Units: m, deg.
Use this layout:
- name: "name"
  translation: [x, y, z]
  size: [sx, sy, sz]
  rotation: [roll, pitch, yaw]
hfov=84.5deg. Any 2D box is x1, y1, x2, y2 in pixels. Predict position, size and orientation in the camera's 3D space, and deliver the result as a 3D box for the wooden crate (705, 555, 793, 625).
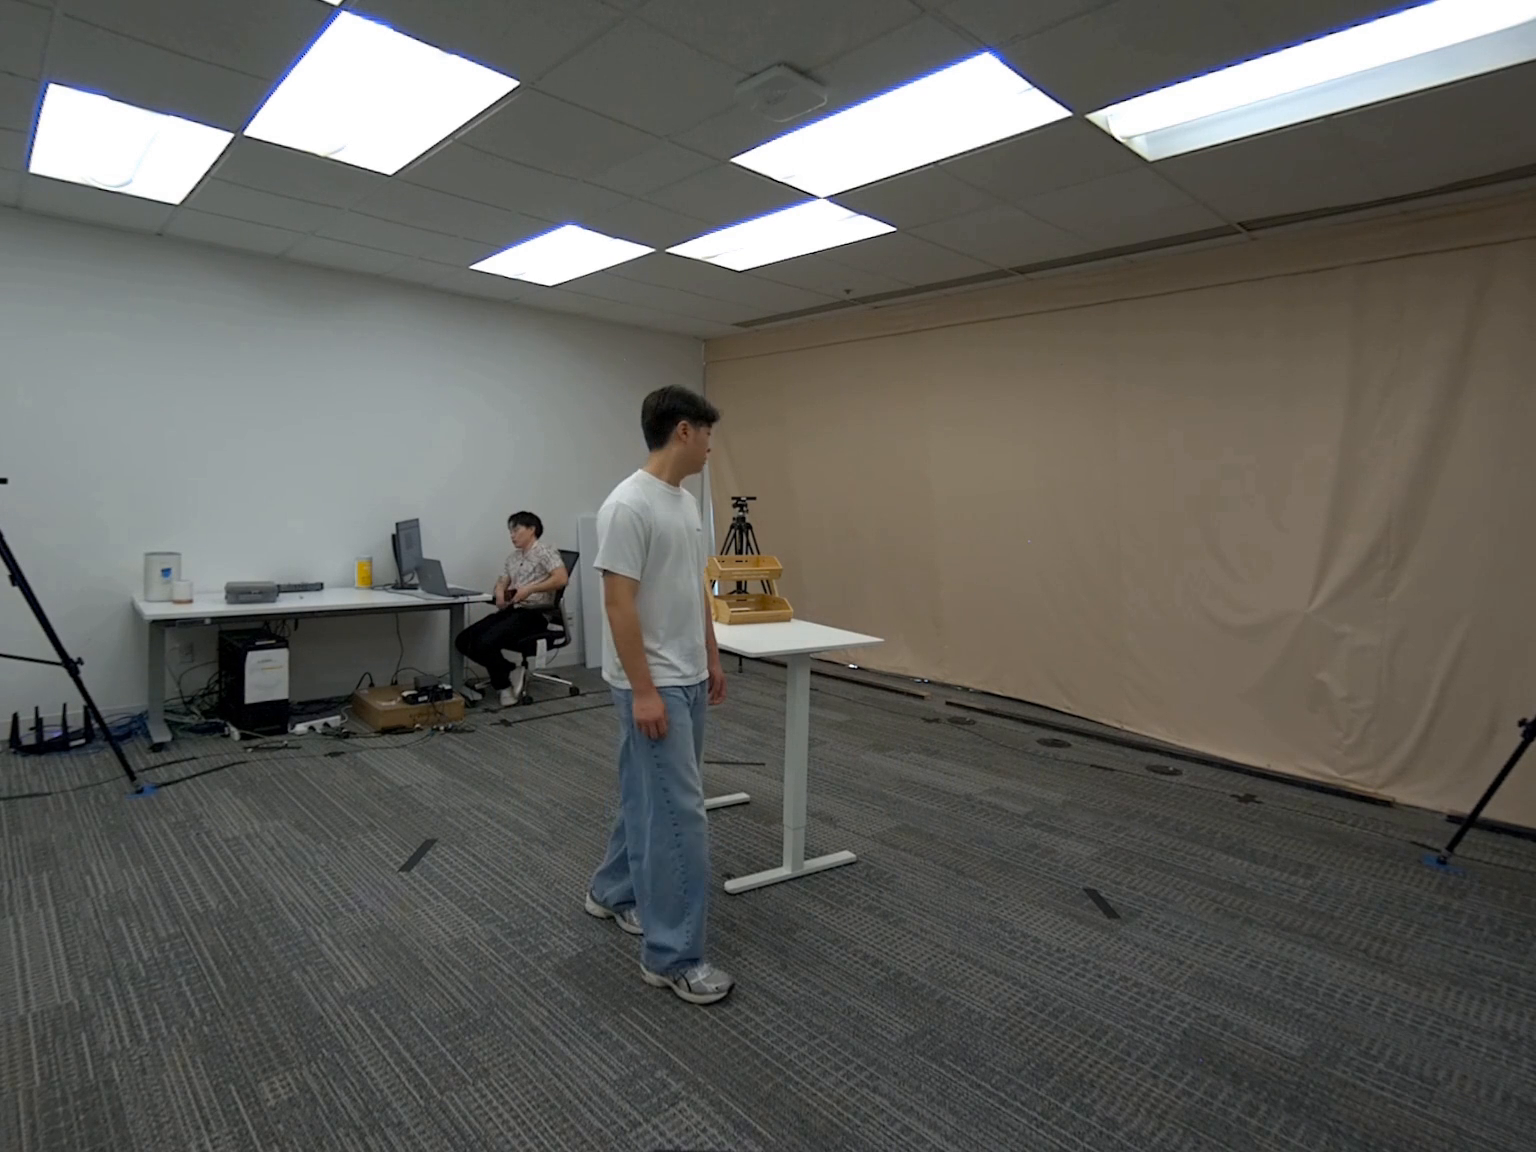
- name: "wooden crate"
  translation: [-0.105, 0.048, 3.566]
  size: [0.318, 0.273, 0.309]
  rotation: [0, 4, -30]
